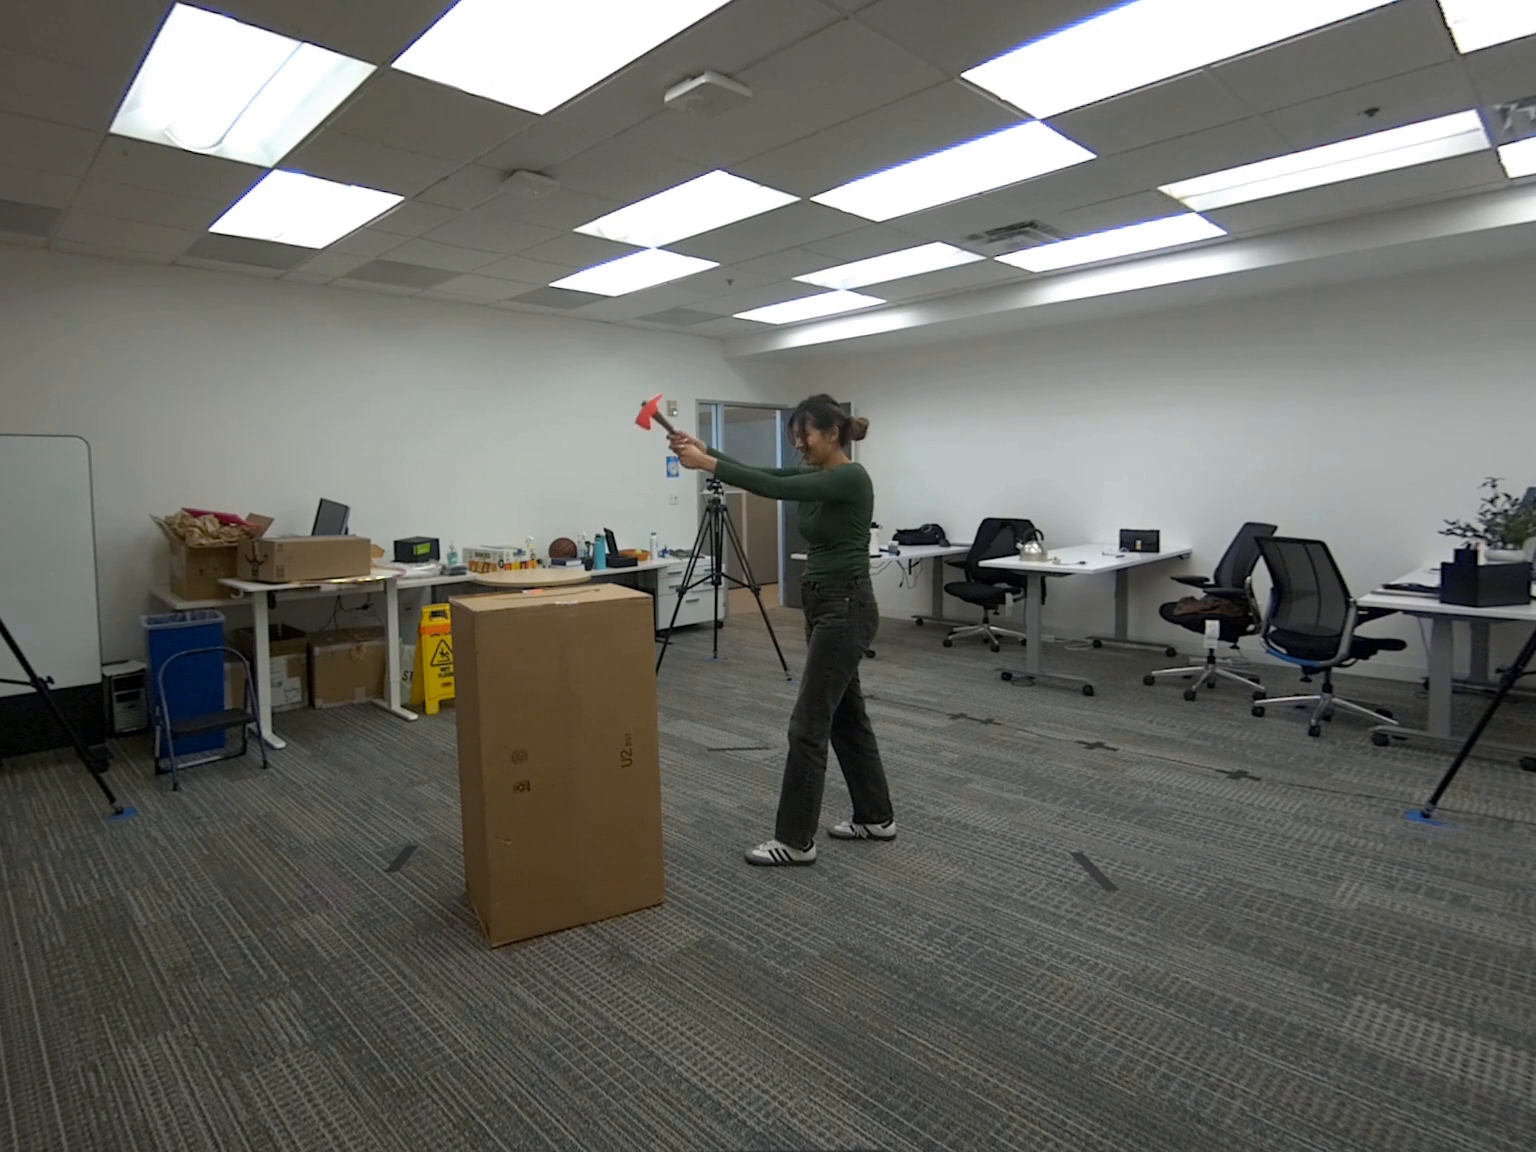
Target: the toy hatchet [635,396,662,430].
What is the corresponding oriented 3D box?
[{"bbox_3d":[-0.355,-0.479,2.929,0.130,0.266,0.030,-31,14,-20],"label":"toy hatchet"}]
